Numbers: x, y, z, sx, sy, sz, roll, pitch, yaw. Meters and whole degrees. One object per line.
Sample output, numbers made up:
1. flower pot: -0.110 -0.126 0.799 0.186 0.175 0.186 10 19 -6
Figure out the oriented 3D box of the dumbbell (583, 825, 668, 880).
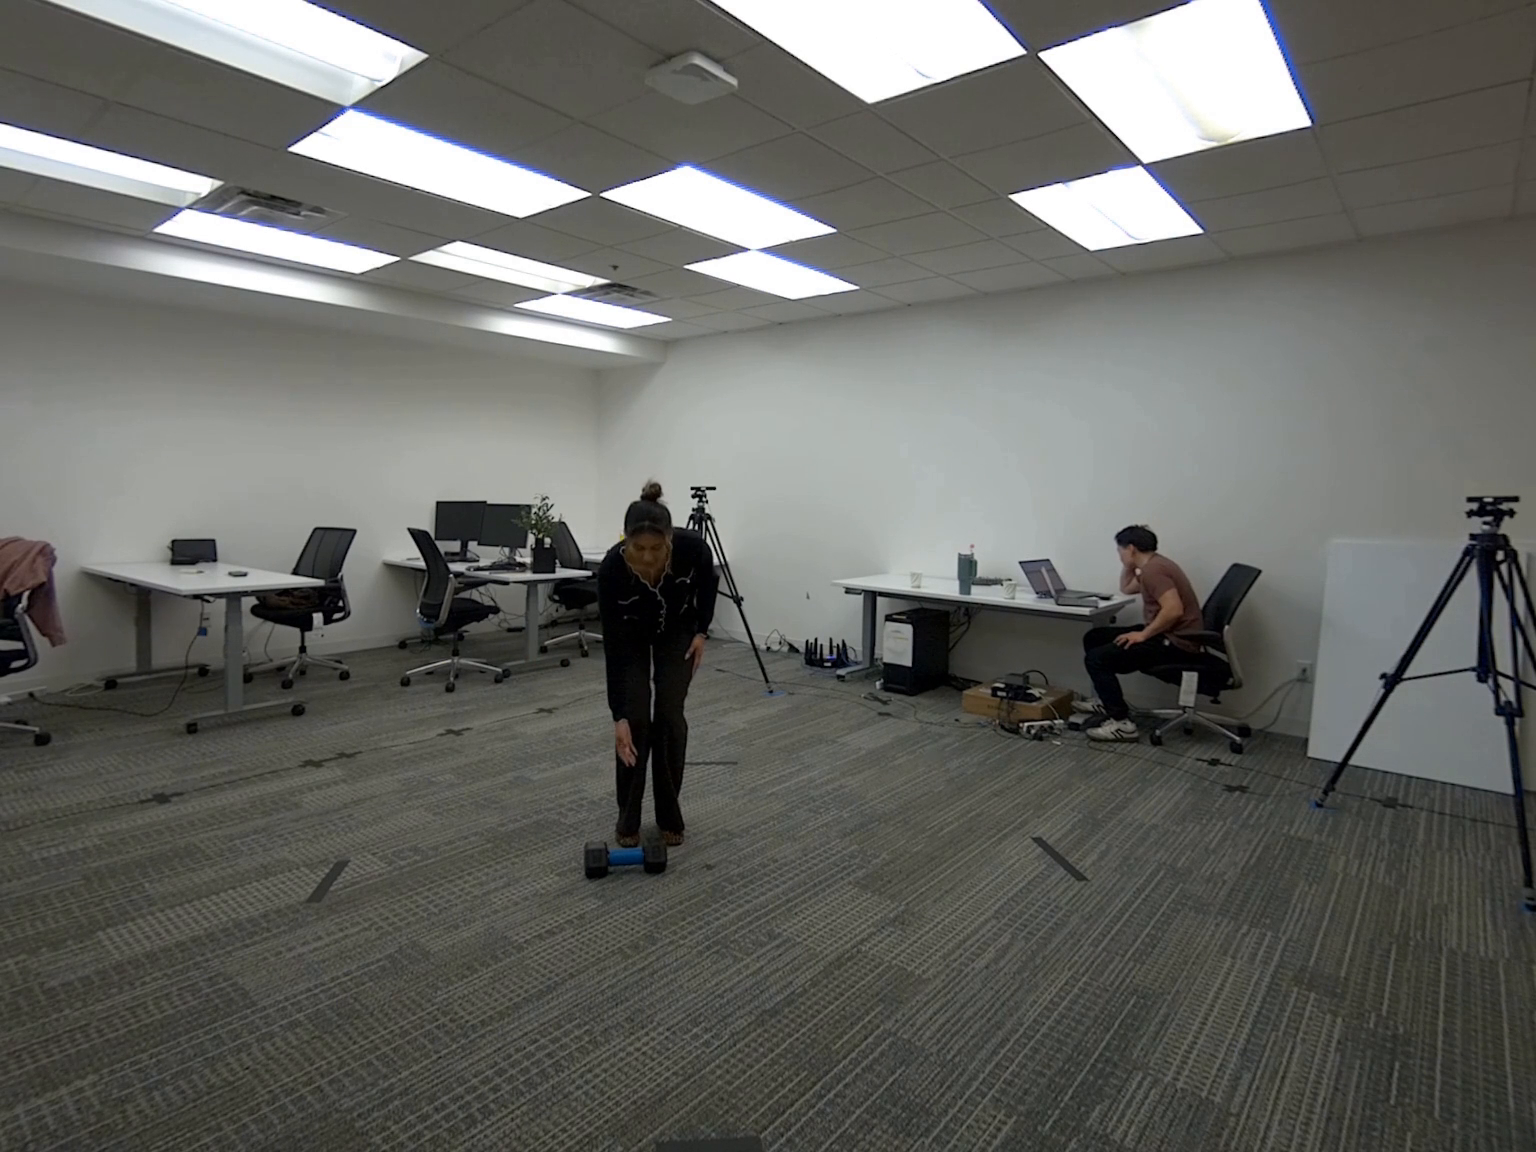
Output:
1. dumbbell: -0.526 1.011 3.064 0.289 0.120 0.113 0 34 -14
